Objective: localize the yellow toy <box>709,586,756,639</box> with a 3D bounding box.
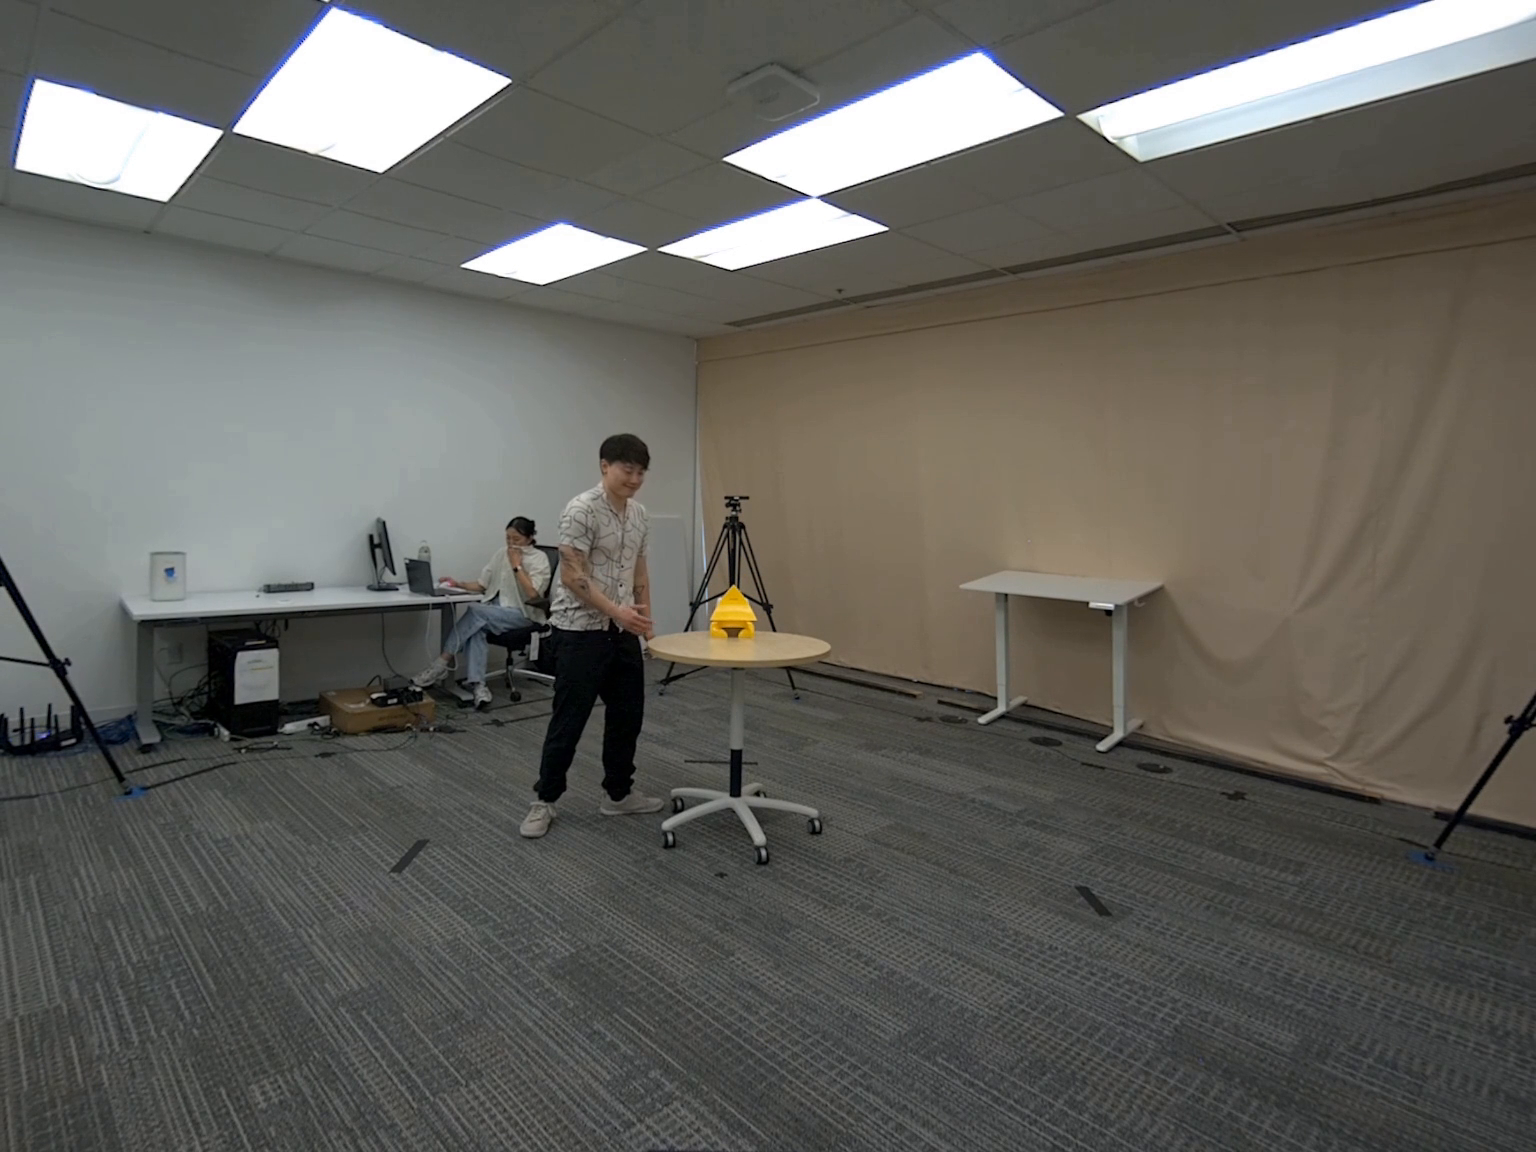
[{"bbox_3d":[-0.172,0.143,3.751,0.204,0.229,0.195,1,8,-5],"label":"yellow toy"}]
